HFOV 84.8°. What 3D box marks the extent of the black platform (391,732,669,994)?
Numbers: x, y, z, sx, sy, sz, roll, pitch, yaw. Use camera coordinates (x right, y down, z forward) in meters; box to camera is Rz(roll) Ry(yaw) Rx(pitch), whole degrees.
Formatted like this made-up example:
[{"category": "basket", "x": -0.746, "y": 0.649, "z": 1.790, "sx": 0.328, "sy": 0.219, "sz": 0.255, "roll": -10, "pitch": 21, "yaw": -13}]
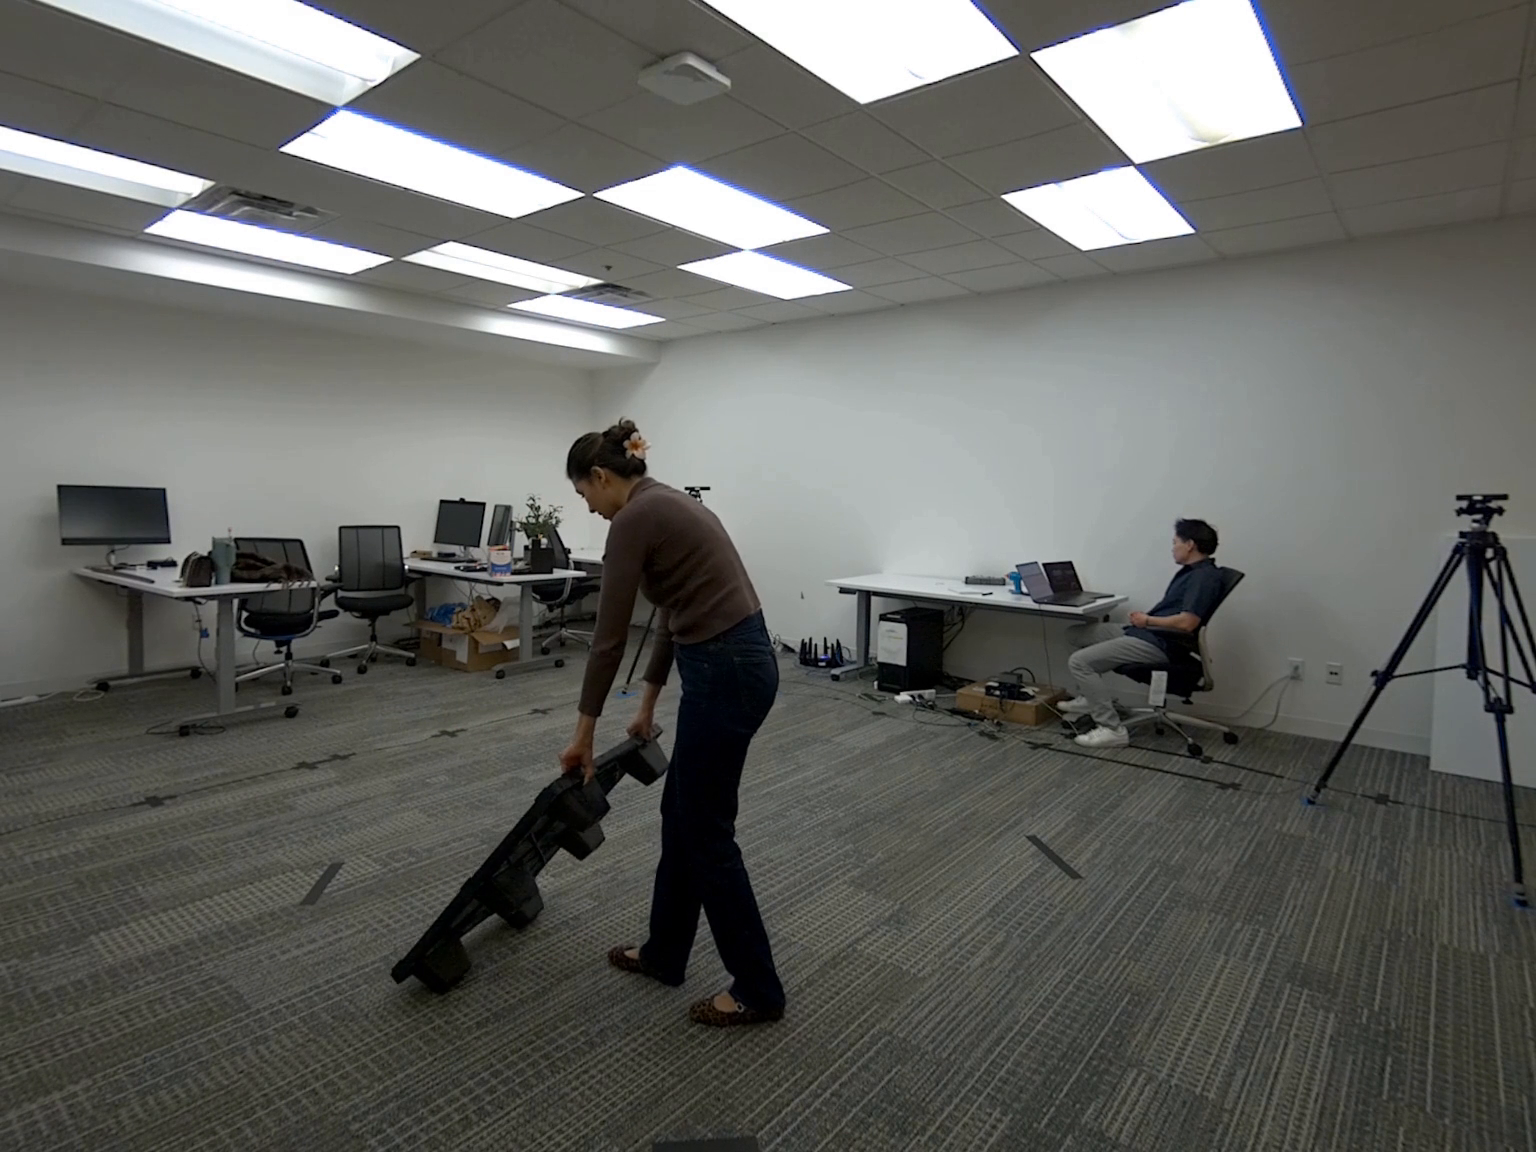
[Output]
[{"category": "black platform", "x": -0.643, "y": 0.803, "z": 2.438, "sx": 0.146, "sy": 0.805, "sz": 0.596, "roll": 43, "pitch": 16, "yaw": 9}]
